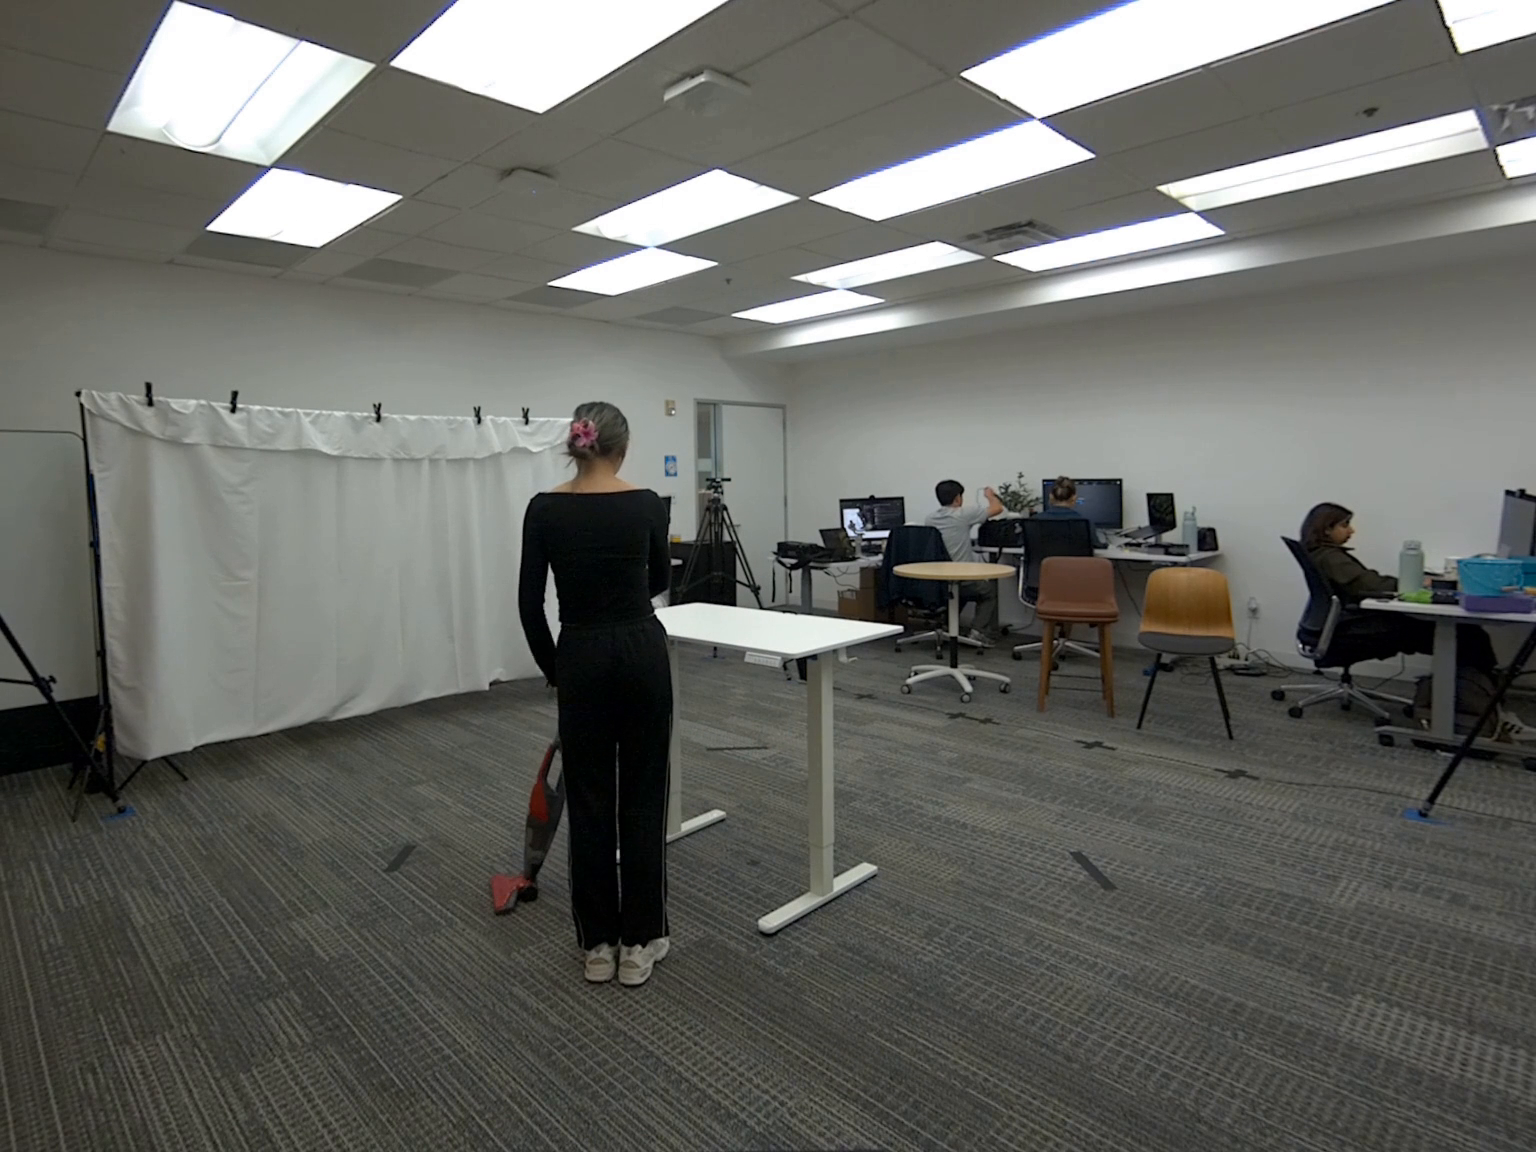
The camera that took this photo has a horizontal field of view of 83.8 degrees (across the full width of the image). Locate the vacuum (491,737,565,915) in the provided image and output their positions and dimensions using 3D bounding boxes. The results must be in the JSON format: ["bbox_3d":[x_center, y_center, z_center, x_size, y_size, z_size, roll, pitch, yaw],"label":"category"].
[{"bbox_3d":[-0.691,0.581,2.927,0.140,1.051,0.259,20,-4,-26],"label":"vacuum"}]
